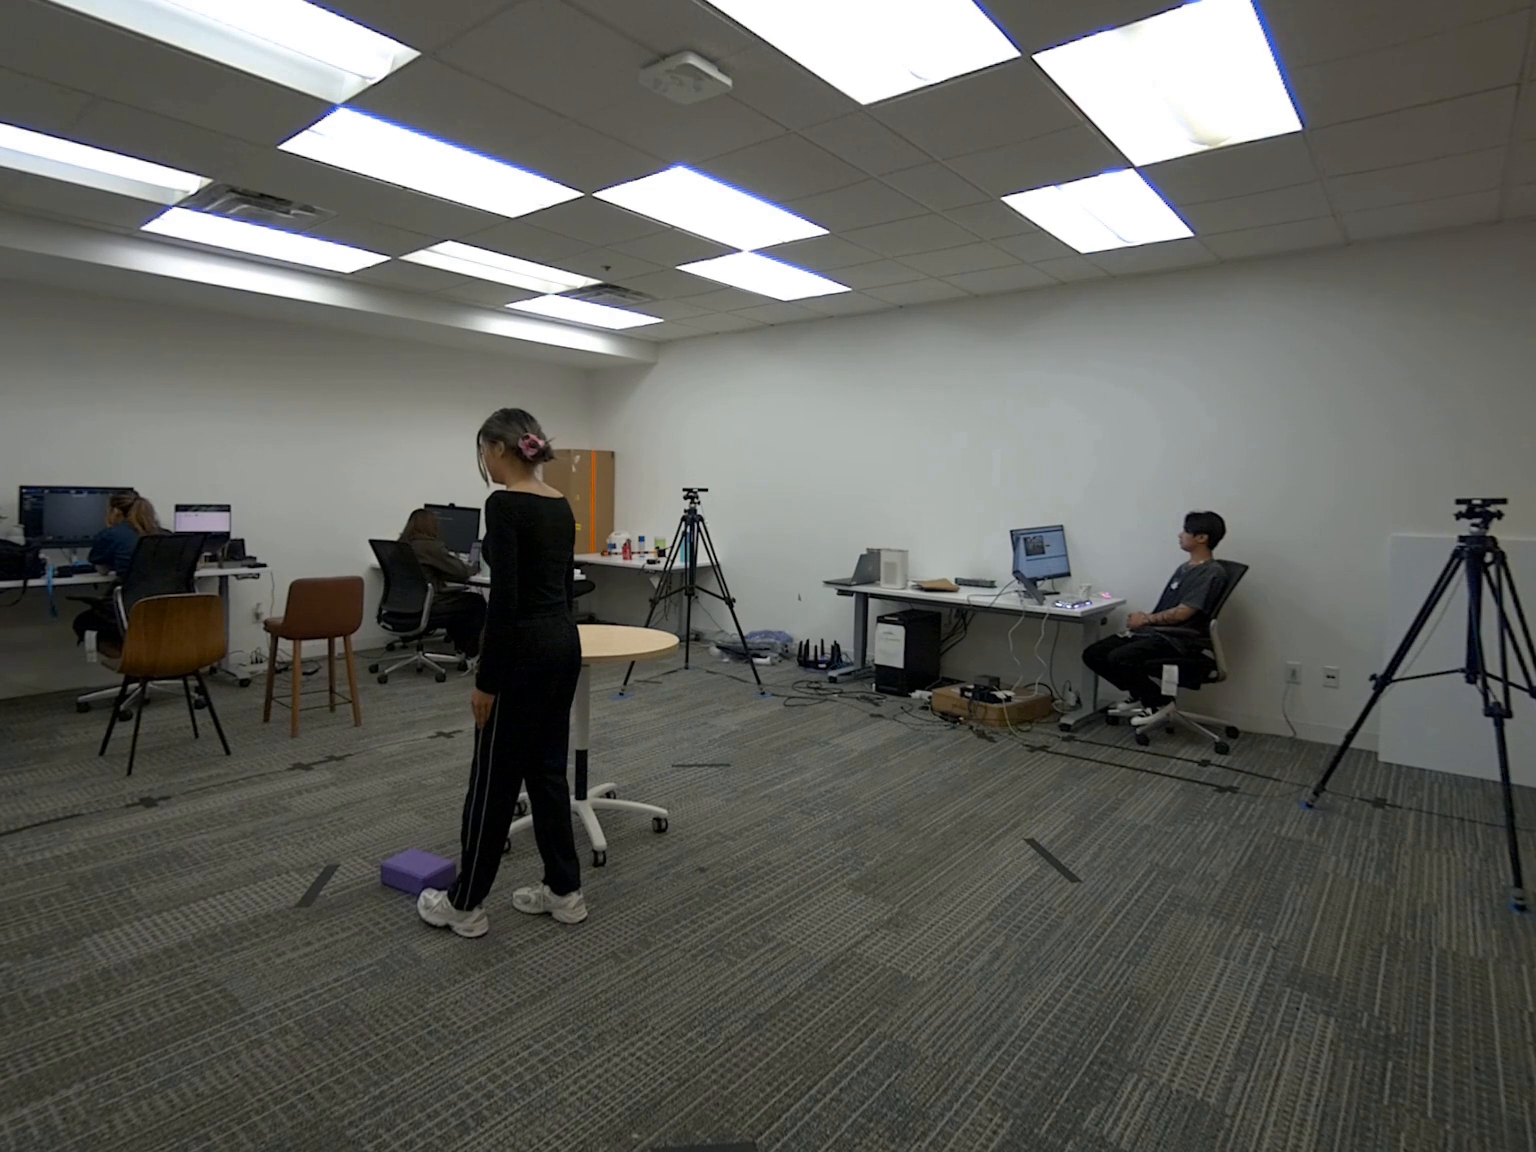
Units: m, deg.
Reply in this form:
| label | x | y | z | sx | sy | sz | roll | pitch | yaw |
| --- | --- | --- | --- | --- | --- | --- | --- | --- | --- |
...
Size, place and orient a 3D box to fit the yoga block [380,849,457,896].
| label | x | y | z | sx | sy | sz | roll | pitch | yaw |
| --- | --- | --- | --- | --- | --- | --- | --- | --- | --- |
| yoga block | -1.229 | 1.028 | 2.962 | 0.236 | 0.076 | 0.145 | 3 | 6 | 29 |
